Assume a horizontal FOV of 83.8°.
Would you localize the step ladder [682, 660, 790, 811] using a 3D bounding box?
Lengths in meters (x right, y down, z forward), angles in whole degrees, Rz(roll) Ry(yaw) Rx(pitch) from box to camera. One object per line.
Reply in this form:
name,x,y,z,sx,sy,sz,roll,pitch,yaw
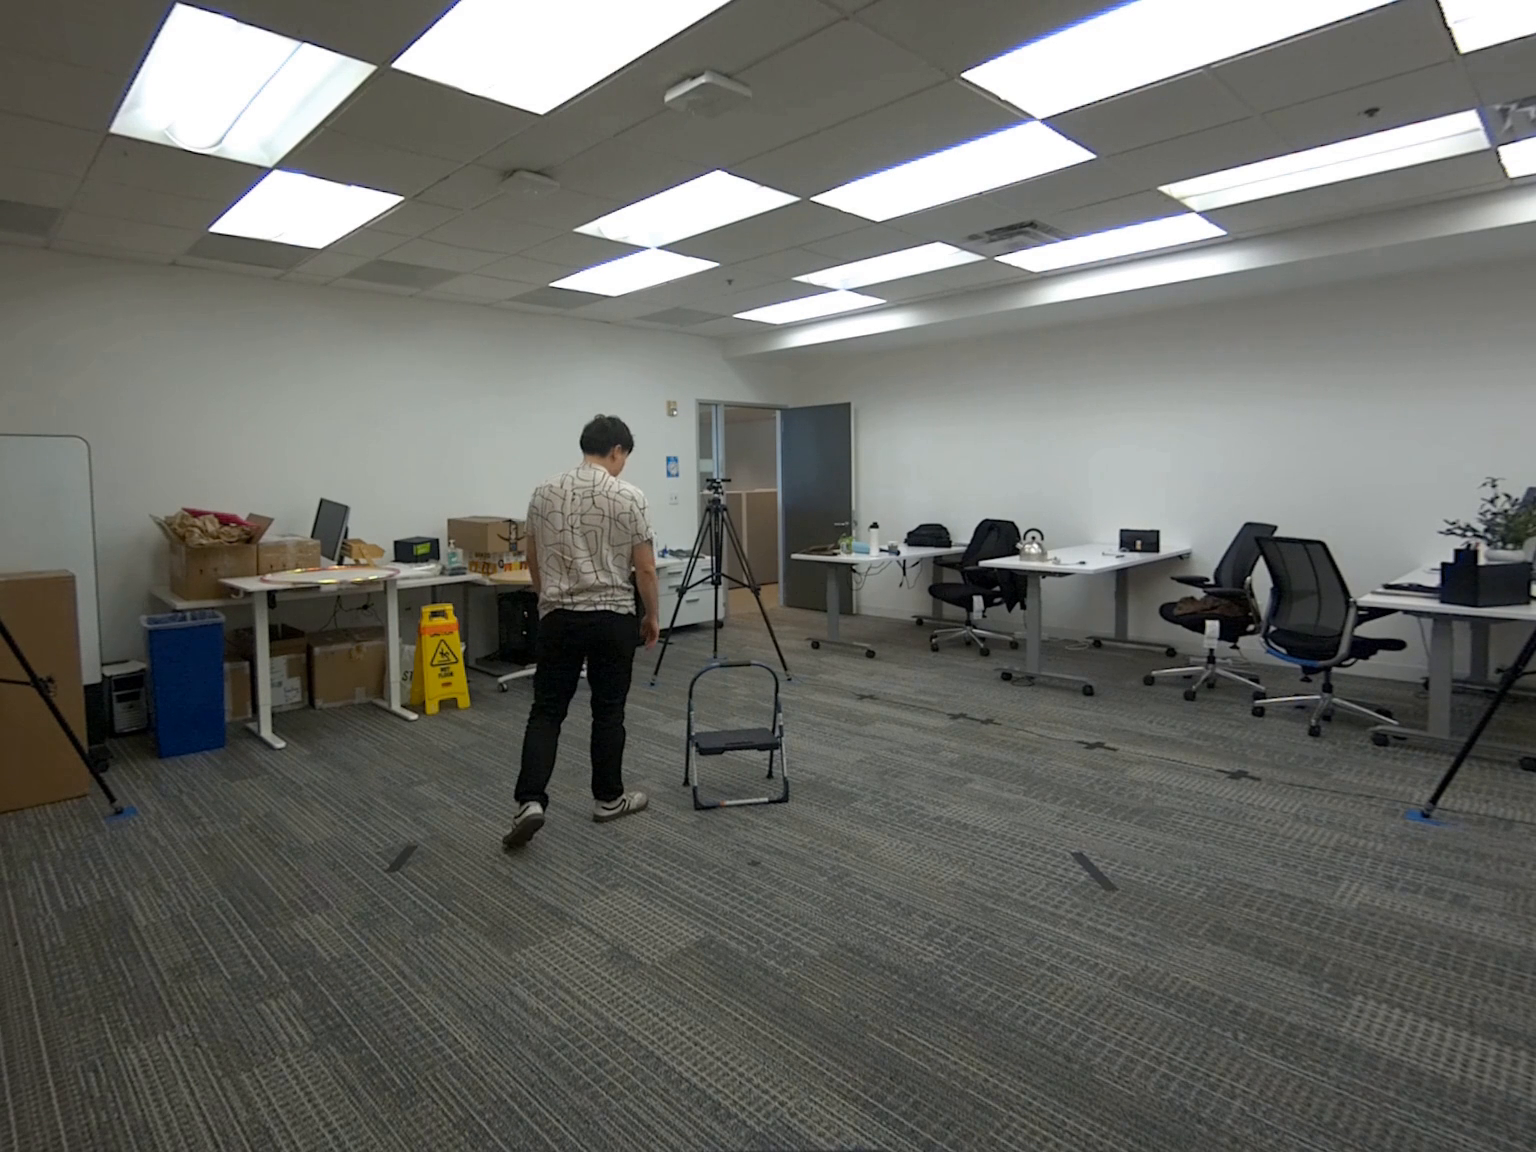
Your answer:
step ladder,-0.158,0.667,3.796,0.426,0.604,0.354,-2,4,-12
